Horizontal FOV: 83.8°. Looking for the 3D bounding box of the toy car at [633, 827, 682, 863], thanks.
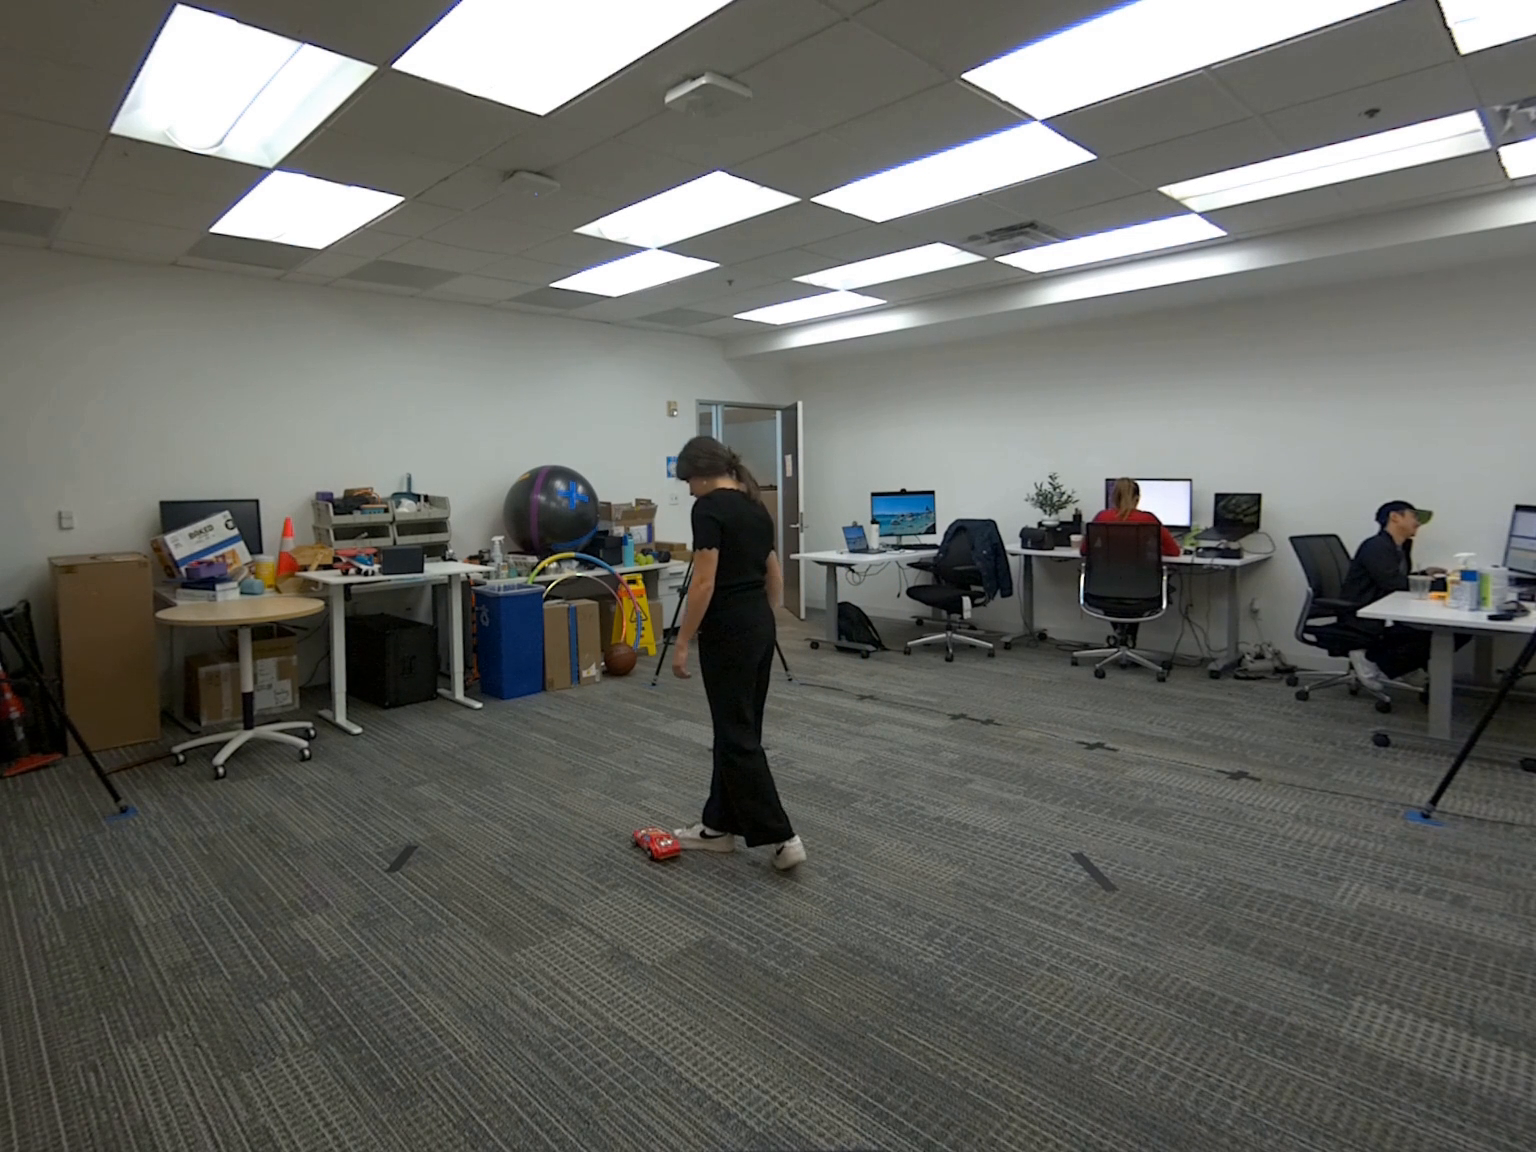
[{"bbox_3d":[-0.414,1.006,3.208,0.127,0.083,0.259,-3,-4,-31],"label":"toy car"}]
